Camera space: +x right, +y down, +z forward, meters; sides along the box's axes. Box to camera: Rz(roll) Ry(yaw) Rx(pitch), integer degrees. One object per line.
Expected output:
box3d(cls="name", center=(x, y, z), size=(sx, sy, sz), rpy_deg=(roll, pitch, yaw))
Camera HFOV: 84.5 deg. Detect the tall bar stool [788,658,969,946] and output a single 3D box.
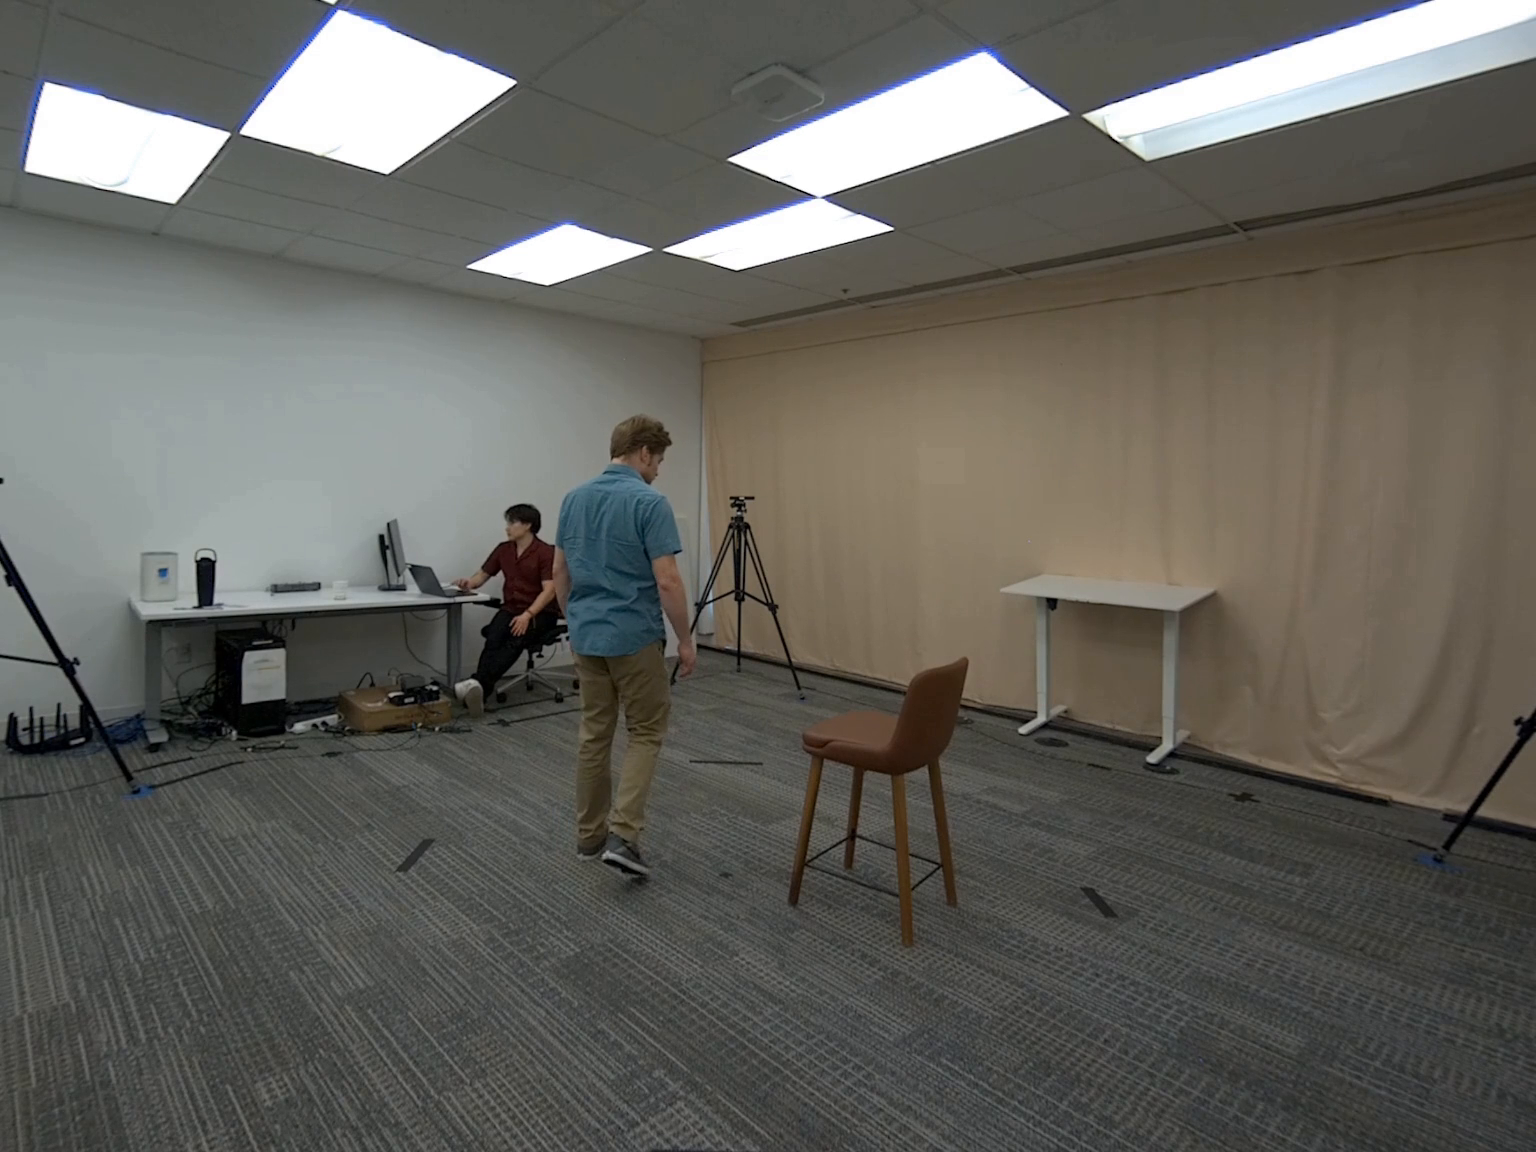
box3d(cls="tall bar stool", center=(0.370, 0.700, 2.879), size=(0.479, 0.886, 0.446), rpy_deg=(7, 6, 37))
